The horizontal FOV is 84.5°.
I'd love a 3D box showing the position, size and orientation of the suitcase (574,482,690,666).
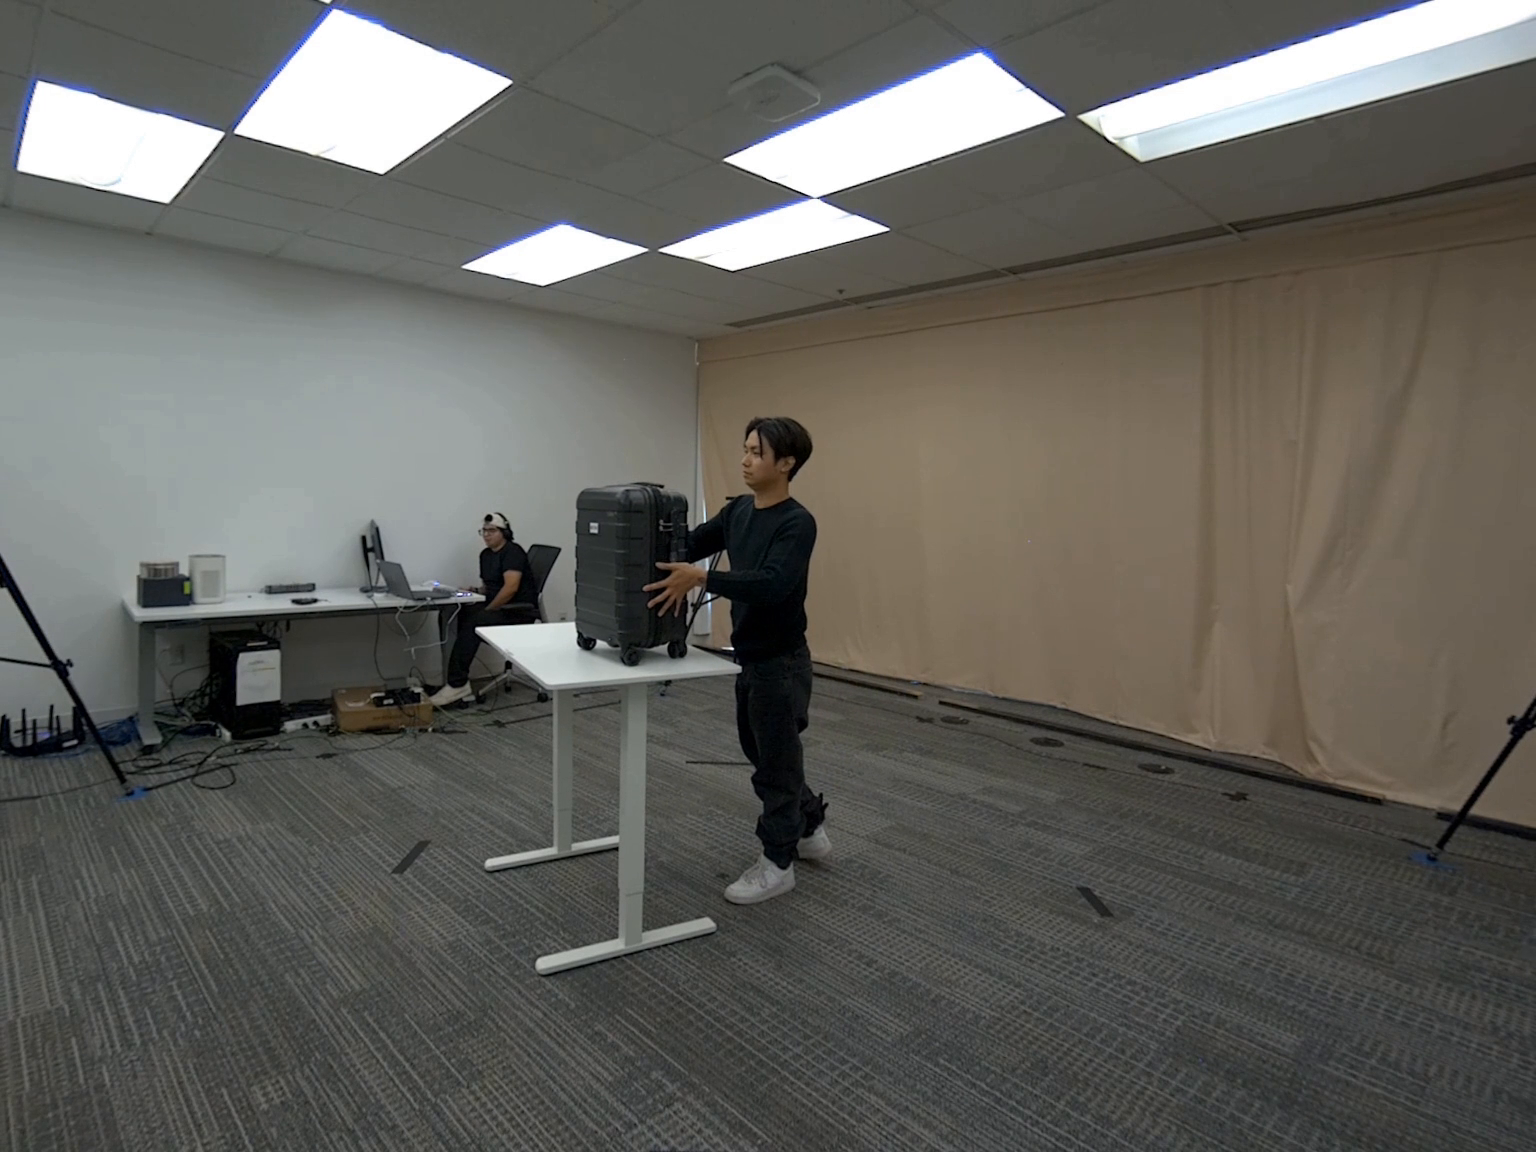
[{"bbox_3d":[-0.437,-0.021,2.693,0.243,0.547,0.385,-3,8,-37],"label":"suitcase"}]
